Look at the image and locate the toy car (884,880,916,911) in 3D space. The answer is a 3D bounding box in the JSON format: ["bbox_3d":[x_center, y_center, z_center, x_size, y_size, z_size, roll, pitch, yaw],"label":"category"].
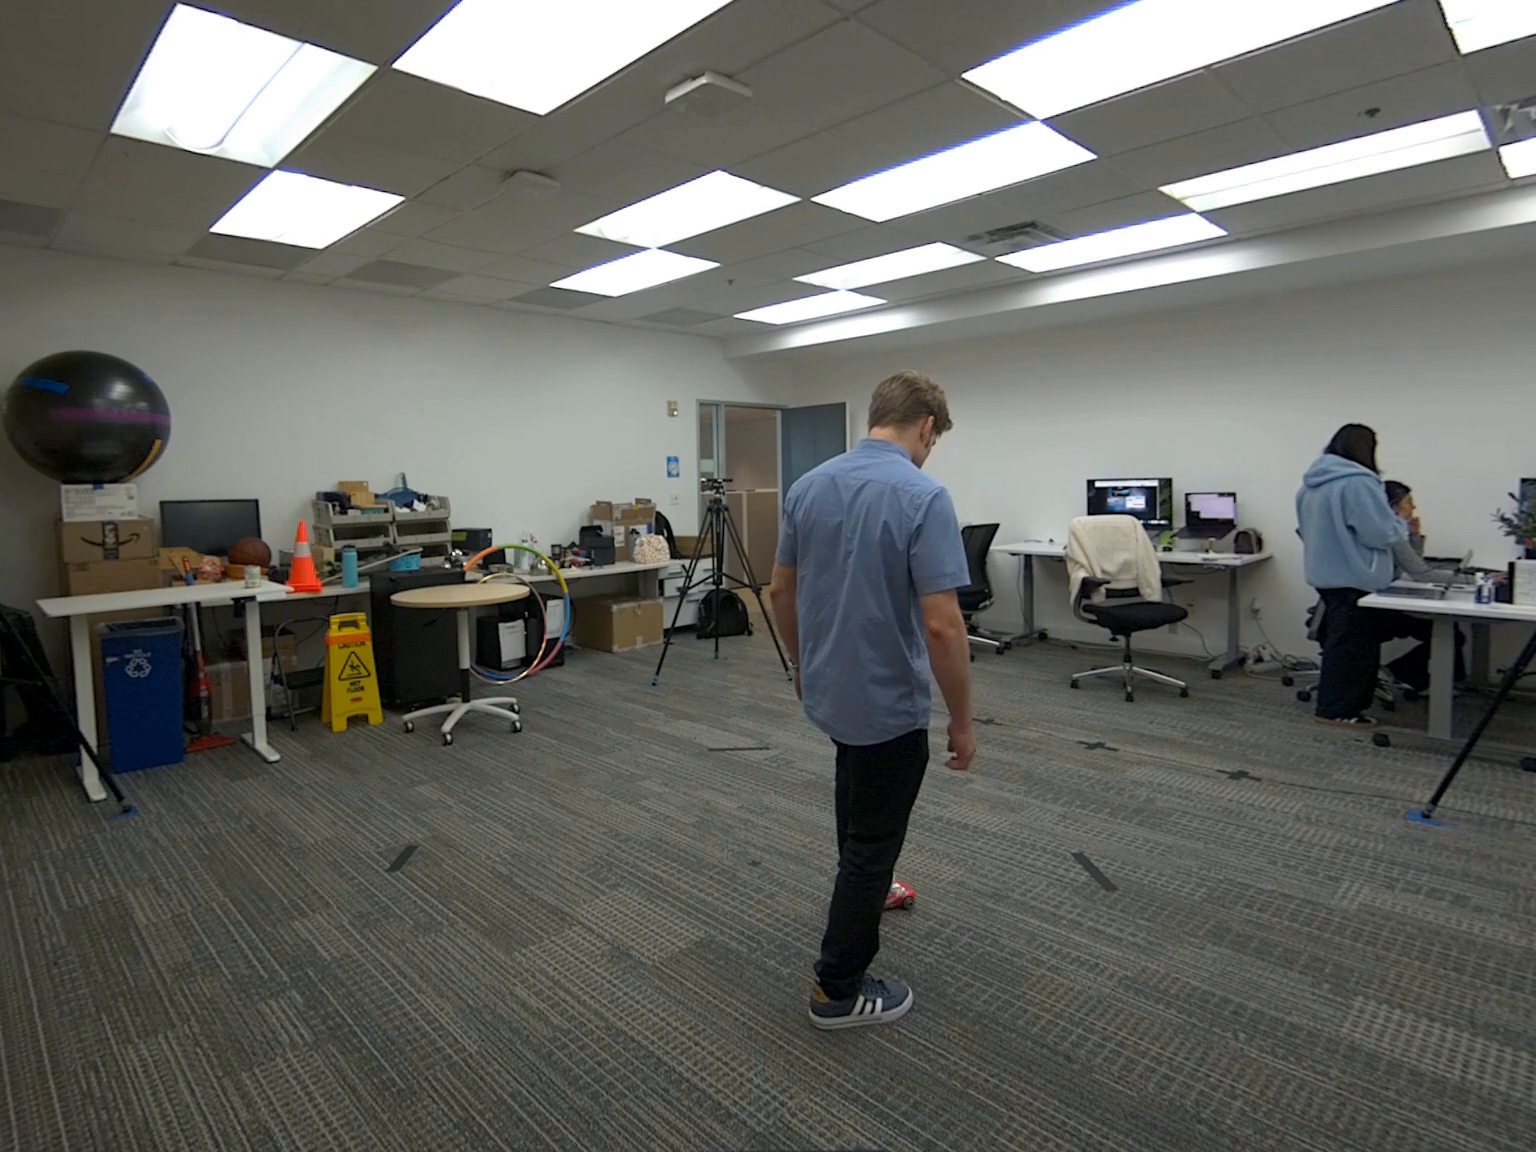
[{"bbox_3d":[0.349,1.046,2.773,0.250,0.083,0.133,8,3,-18],"label":"toy car"}]
